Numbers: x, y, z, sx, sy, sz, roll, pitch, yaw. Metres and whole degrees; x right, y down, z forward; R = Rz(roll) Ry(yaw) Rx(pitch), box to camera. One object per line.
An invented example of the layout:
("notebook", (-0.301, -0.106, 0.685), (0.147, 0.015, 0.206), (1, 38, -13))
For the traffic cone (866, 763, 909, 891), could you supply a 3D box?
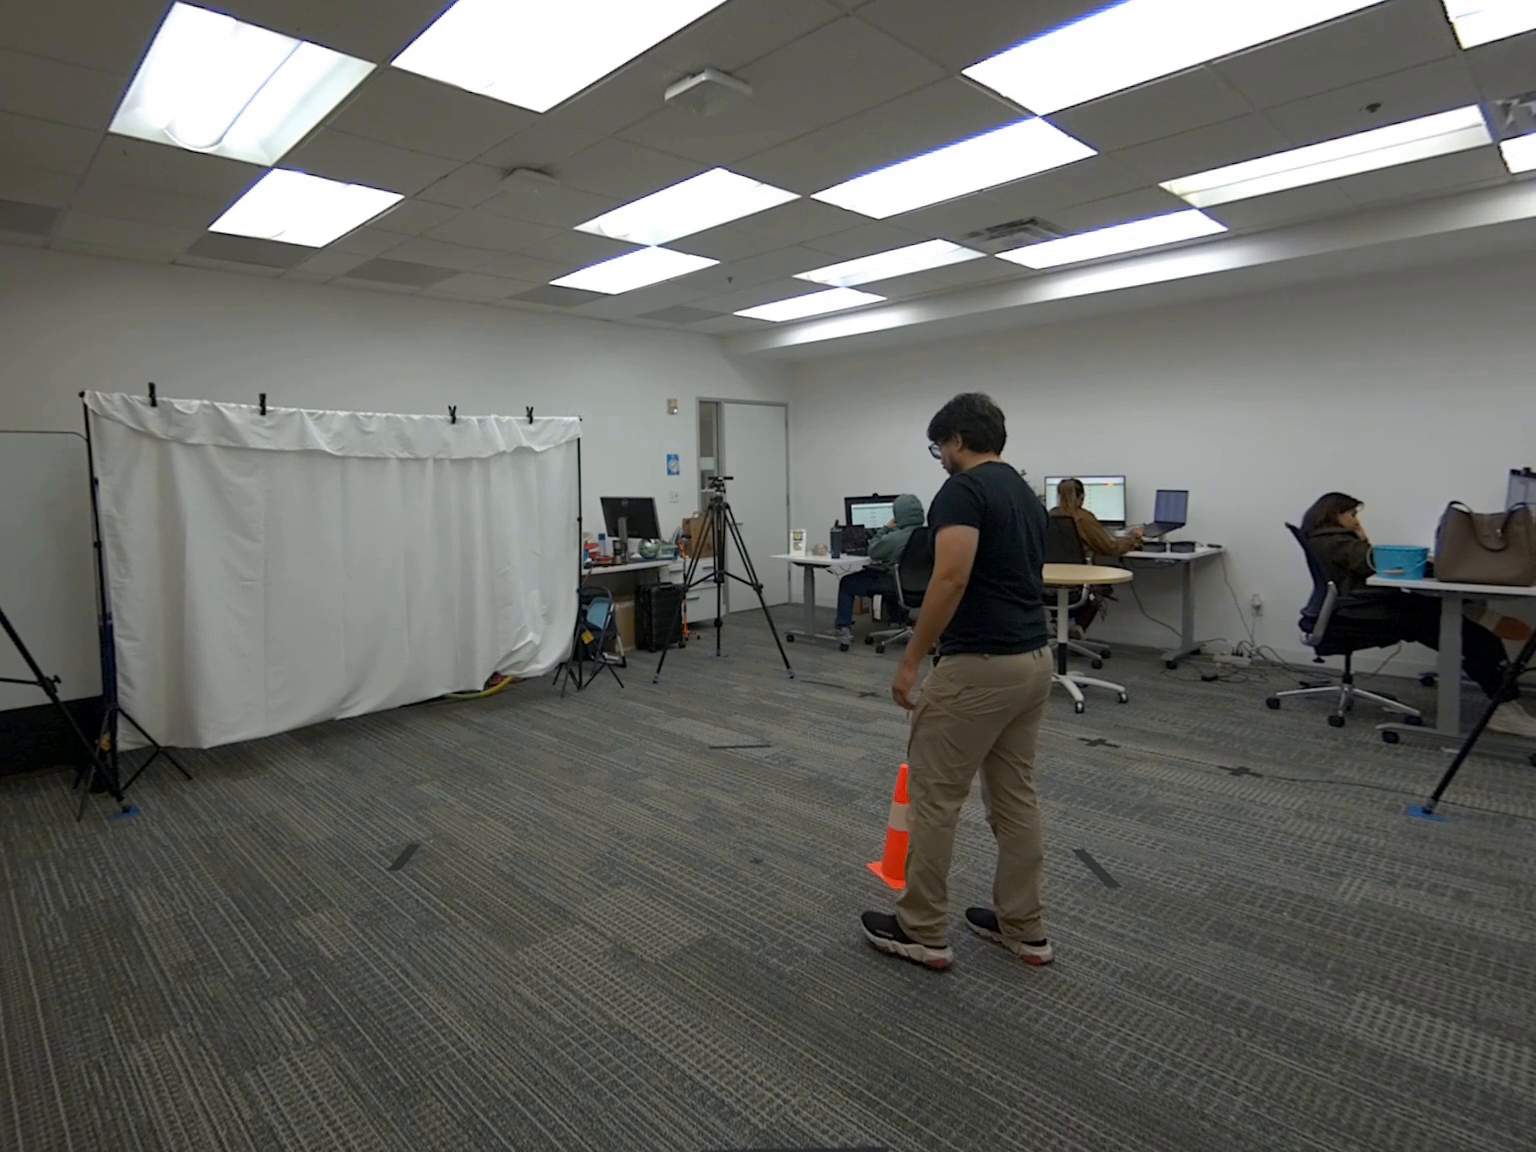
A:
("traffic cone", (0.484, 0.856, 2.982), (0.199, 0.382, 0.210), (-4, 6, -23))
